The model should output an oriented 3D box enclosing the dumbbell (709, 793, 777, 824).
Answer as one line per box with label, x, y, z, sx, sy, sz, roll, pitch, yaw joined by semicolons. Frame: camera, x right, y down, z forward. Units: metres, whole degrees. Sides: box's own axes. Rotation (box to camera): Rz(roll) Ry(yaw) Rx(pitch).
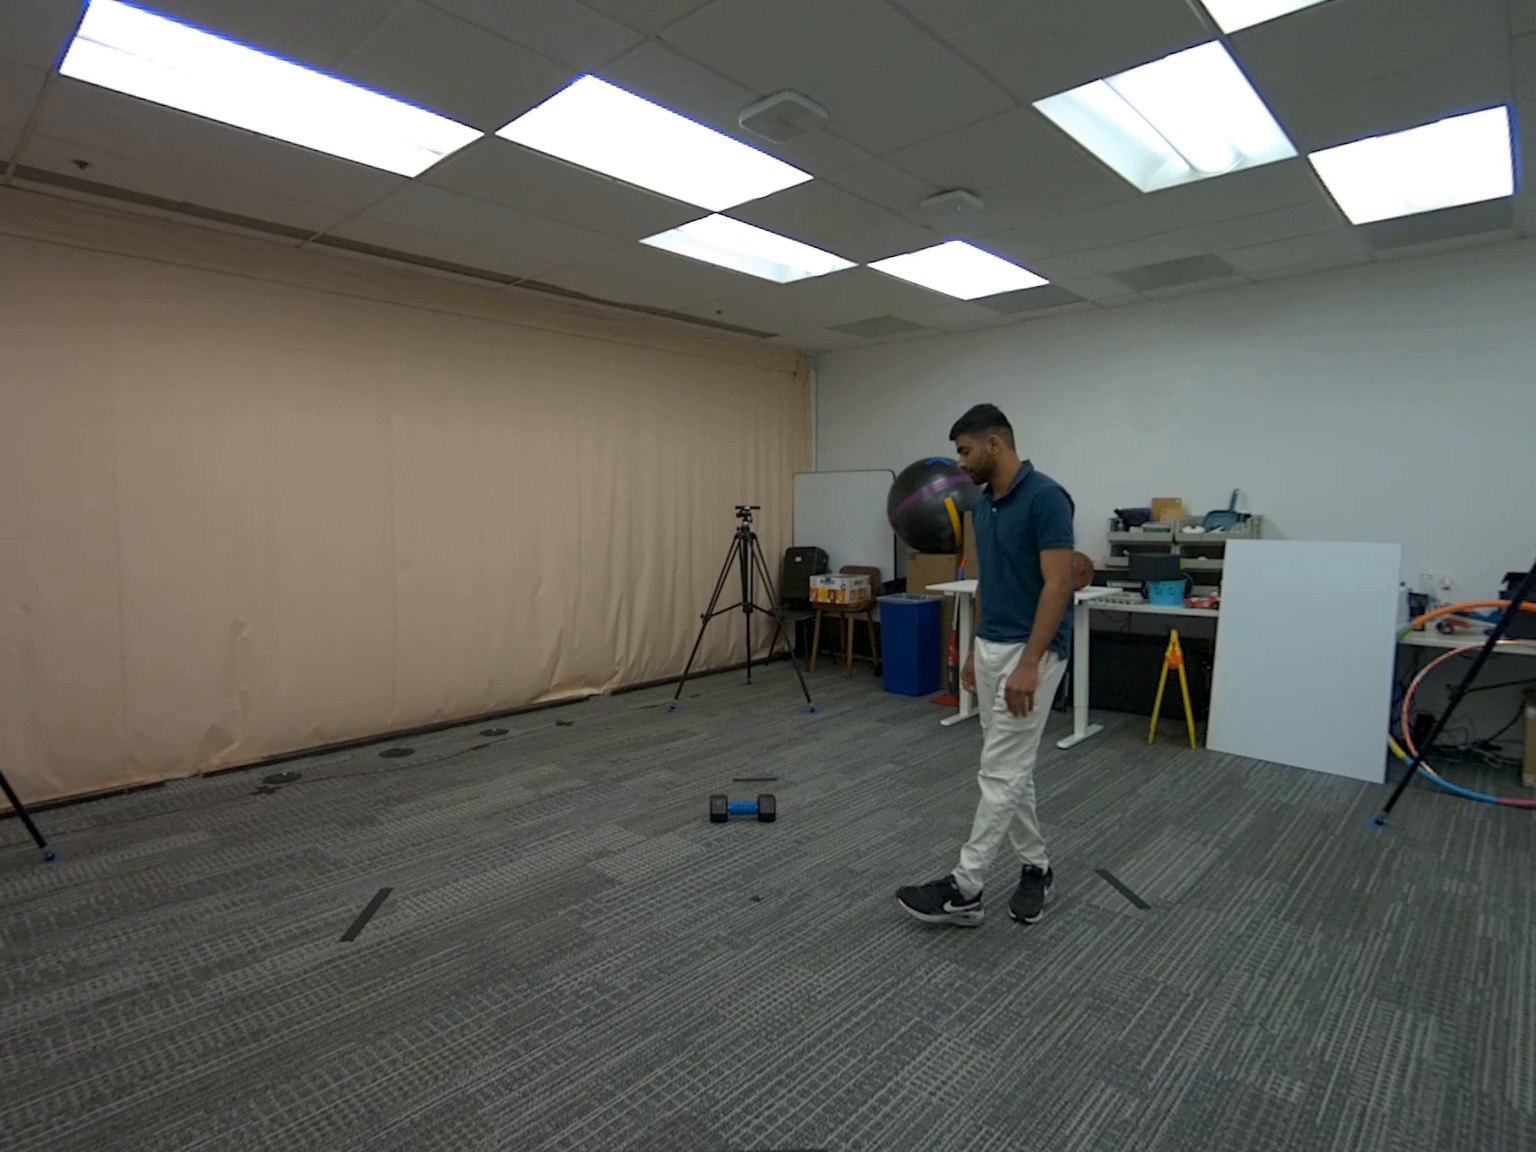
dumbbell;-0.116;1.030;3.733;0.293;0.125;0.107;0;-26;-1
